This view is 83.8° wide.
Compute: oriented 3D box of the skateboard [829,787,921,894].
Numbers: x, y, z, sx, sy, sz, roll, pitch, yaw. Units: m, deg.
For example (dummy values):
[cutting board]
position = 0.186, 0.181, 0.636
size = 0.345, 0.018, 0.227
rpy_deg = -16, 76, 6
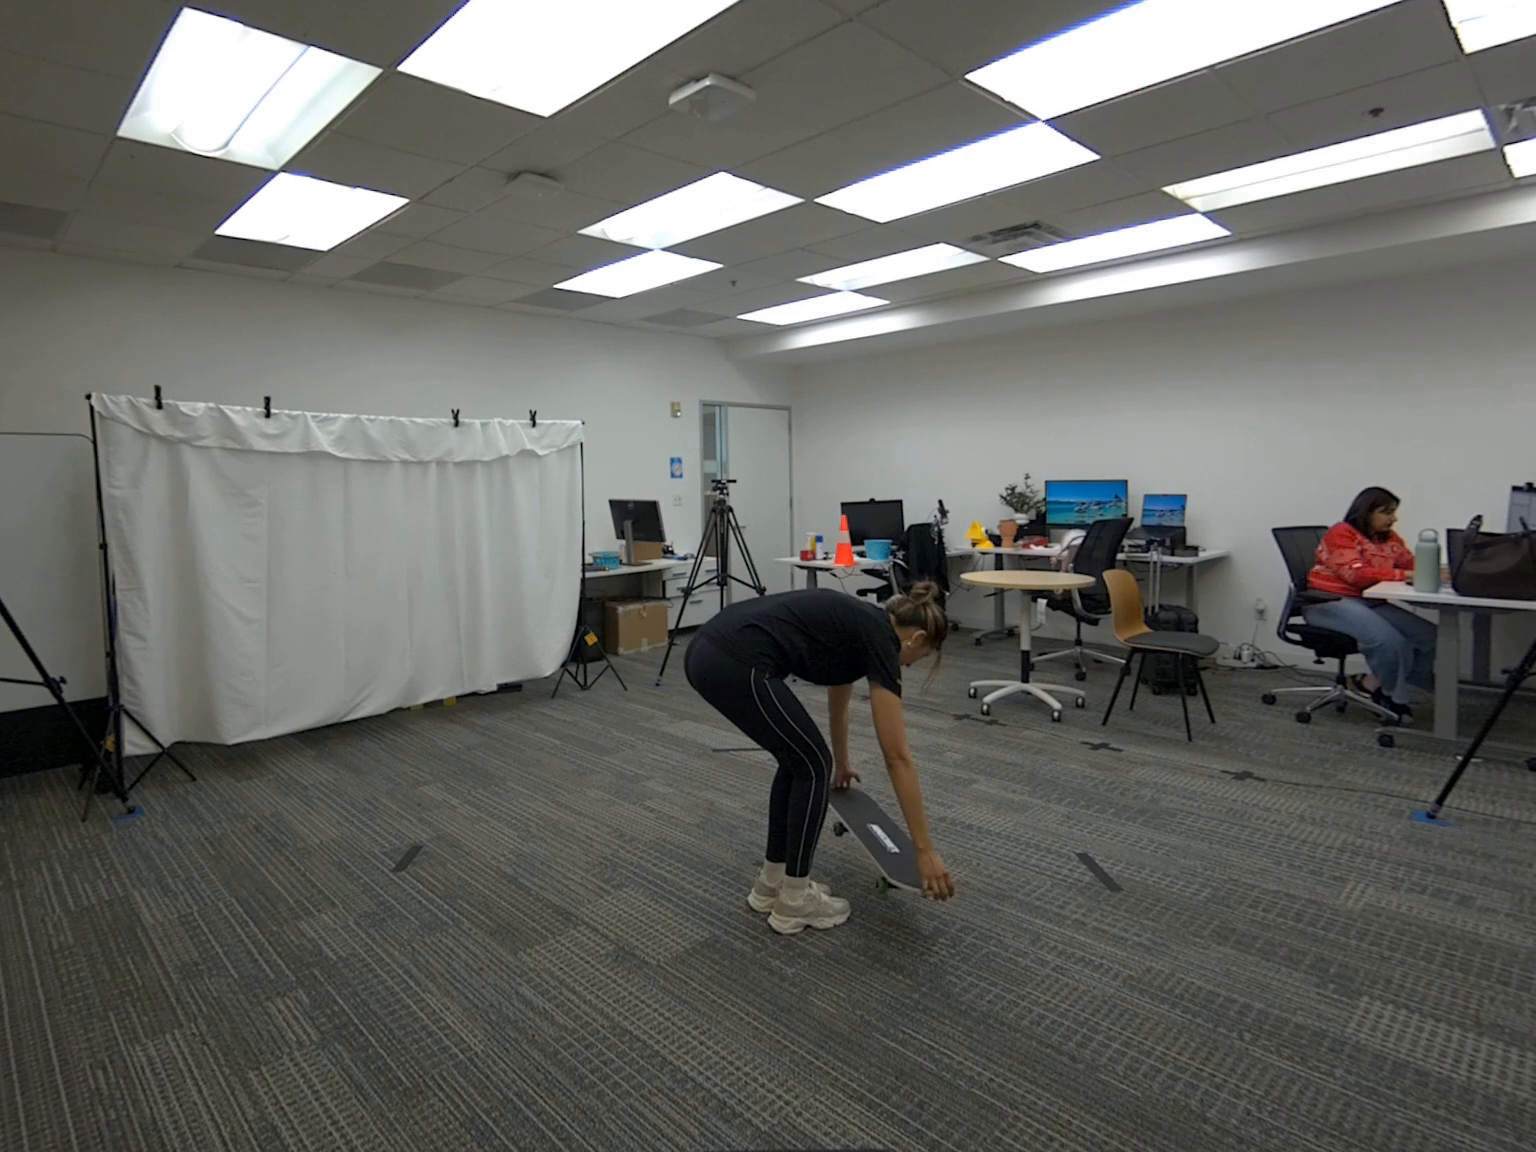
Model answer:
[skateboard]
position = 0.379, 0.879, 2.844
size = 0.191, 0.110, 0.800
rpy_deg = 6, 6, -15
